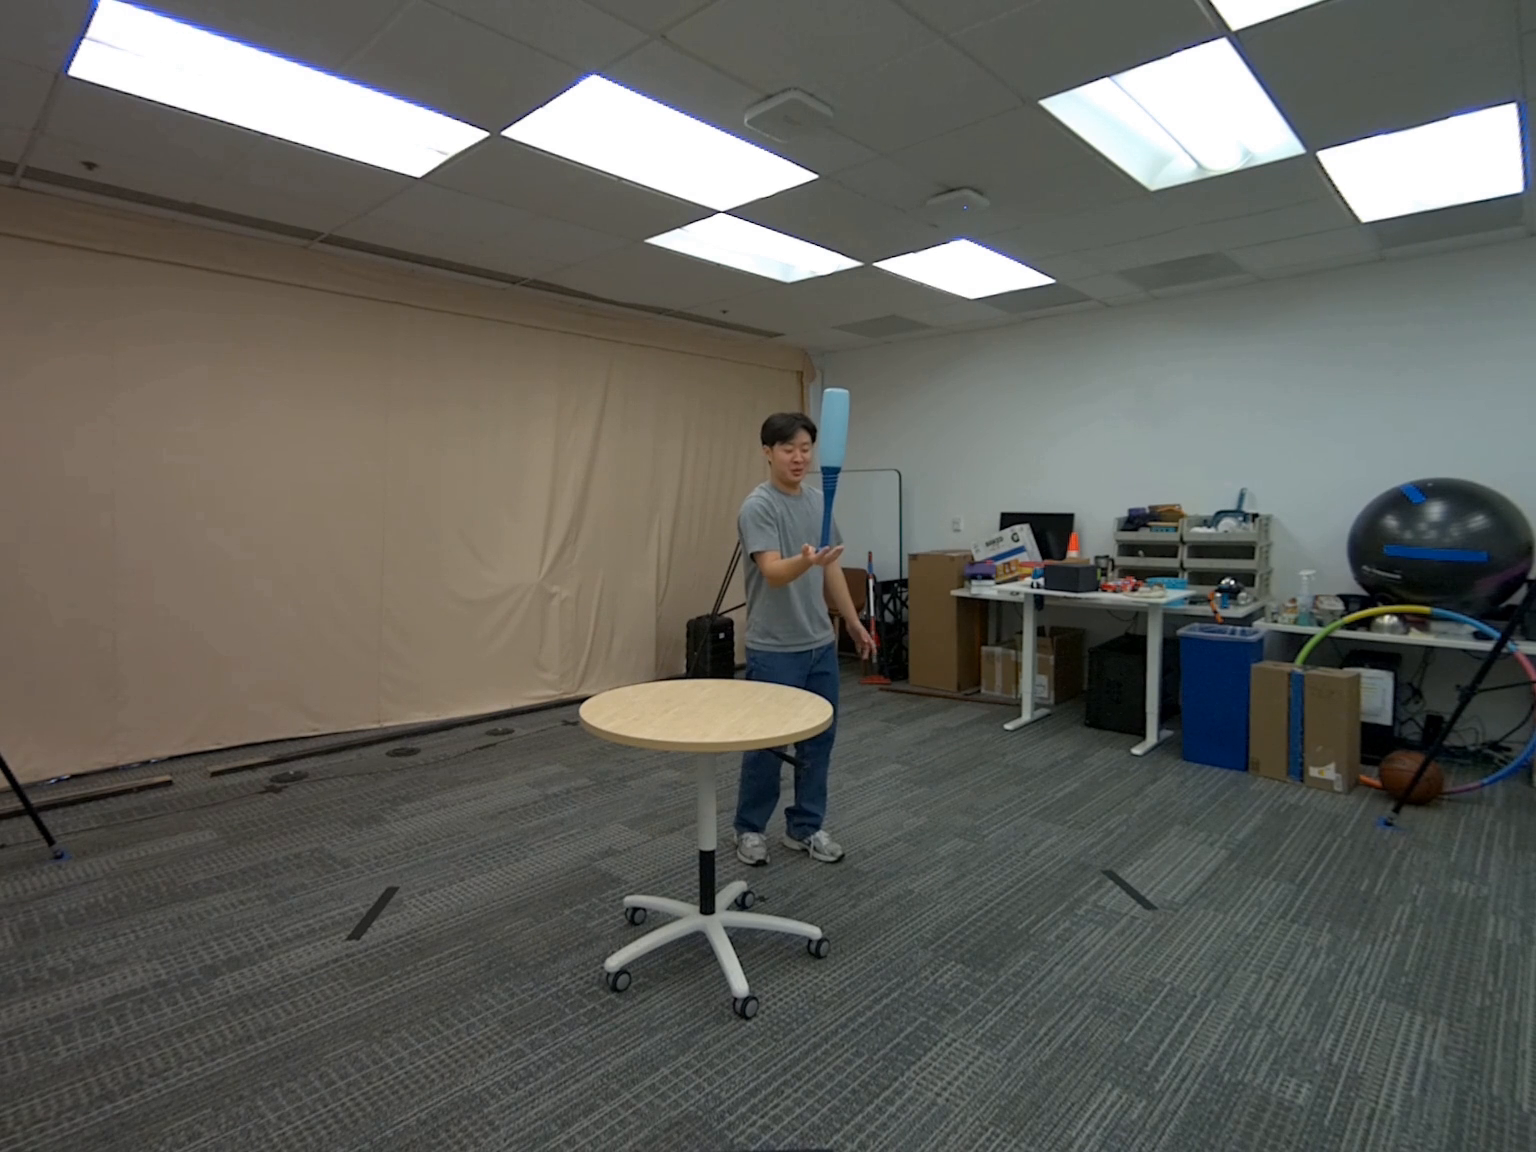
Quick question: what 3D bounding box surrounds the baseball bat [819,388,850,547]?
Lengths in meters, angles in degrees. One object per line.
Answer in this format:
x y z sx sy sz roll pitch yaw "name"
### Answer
0.216 -0.338 2.734 0.089 0.542 0.089 4 2 -2 "baseball bat"
